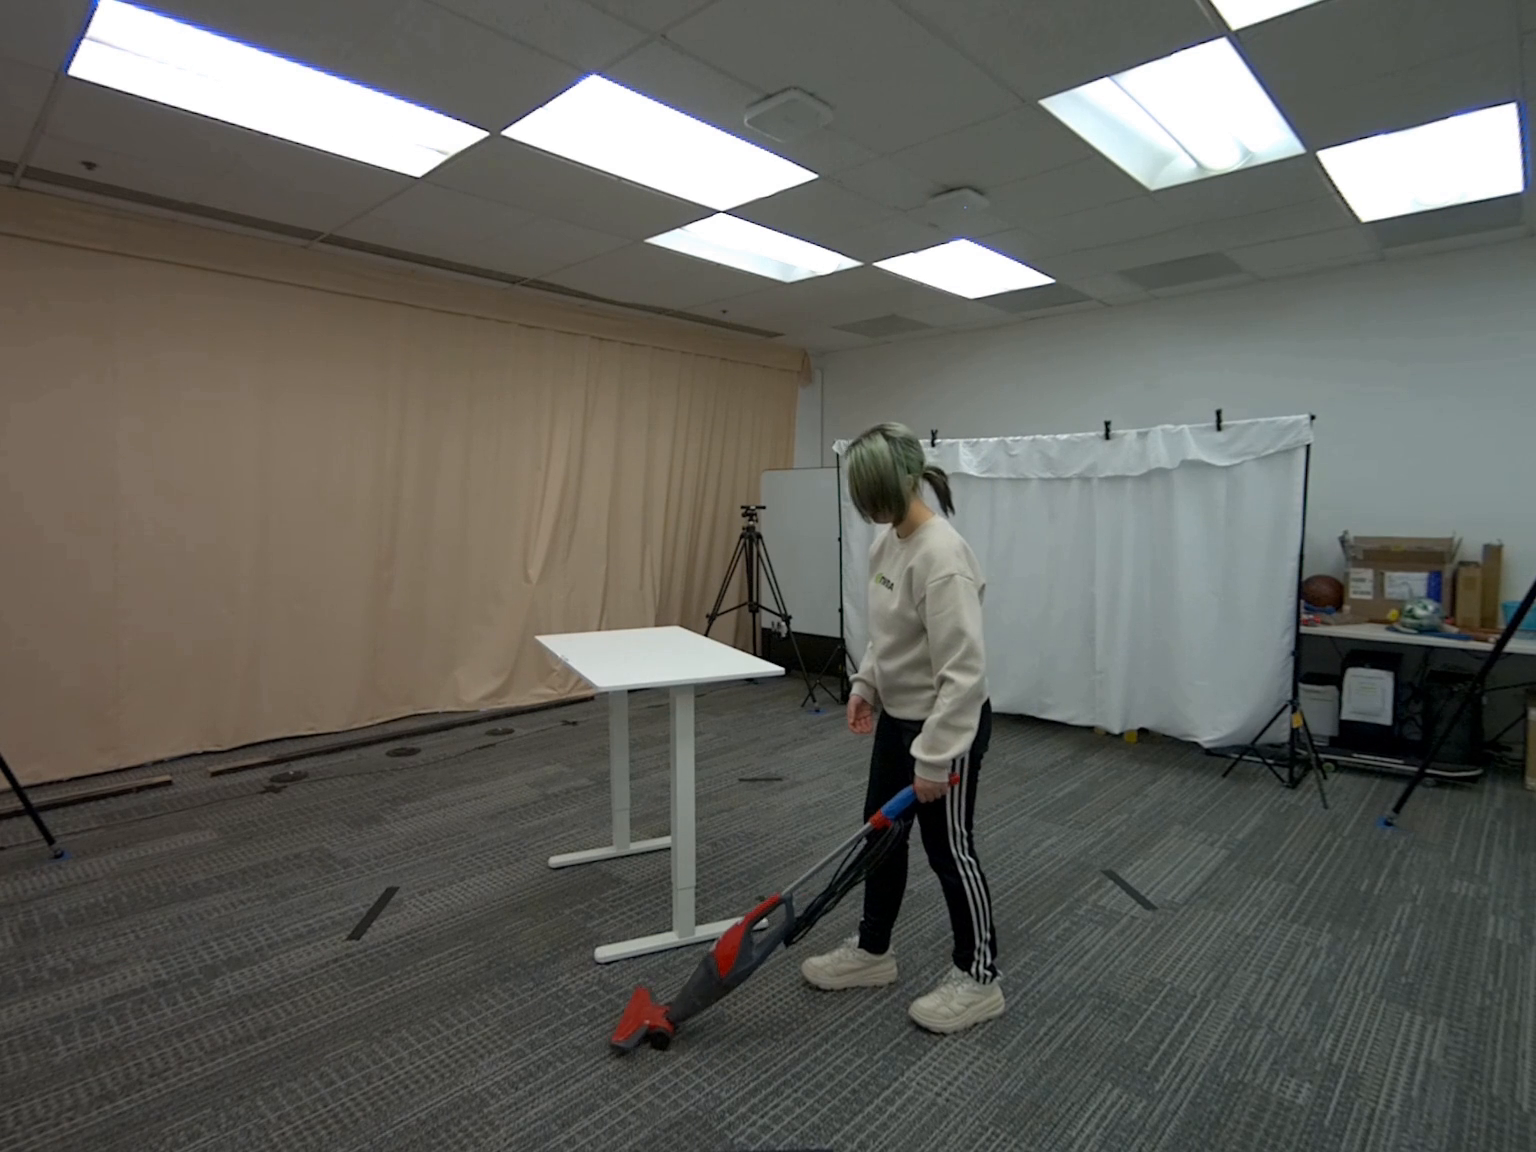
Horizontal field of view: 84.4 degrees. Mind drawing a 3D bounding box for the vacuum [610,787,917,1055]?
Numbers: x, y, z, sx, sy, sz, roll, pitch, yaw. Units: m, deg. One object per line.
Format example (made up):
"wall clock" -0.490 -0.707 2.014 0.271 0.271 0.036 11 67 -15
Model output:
"vacuum" 0.067 0.850 2.131 1.052 0.144 0.251 -42 -2 8
